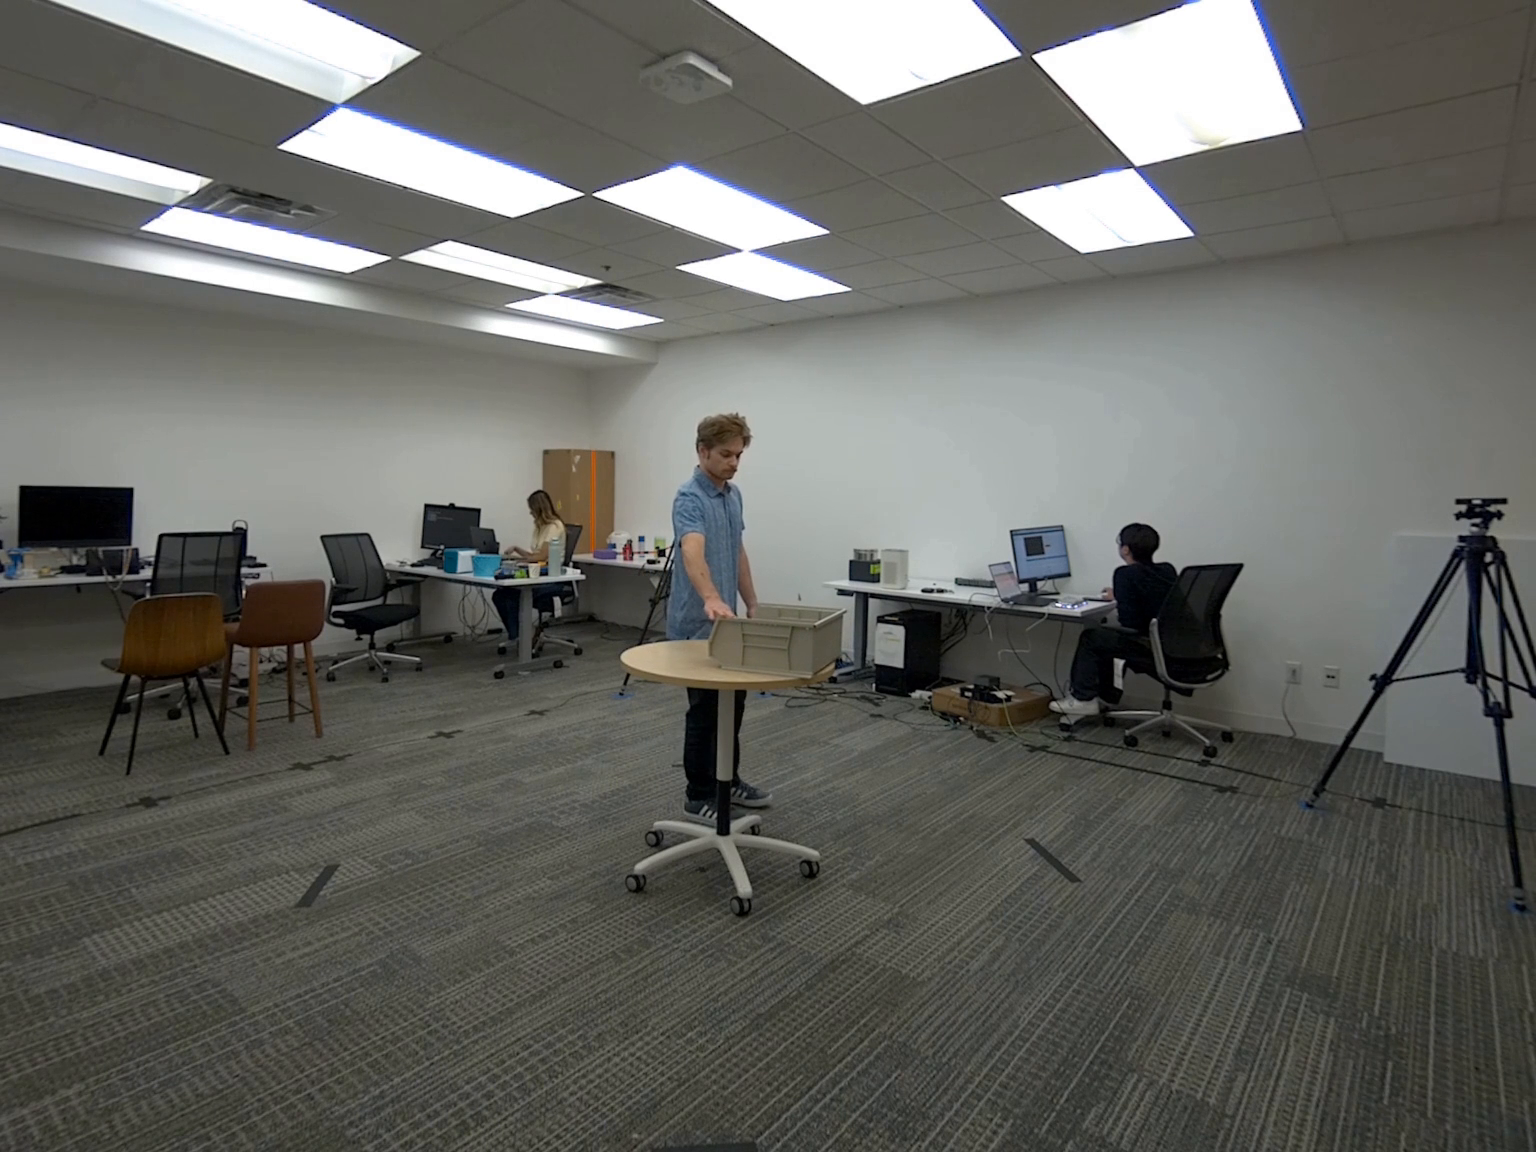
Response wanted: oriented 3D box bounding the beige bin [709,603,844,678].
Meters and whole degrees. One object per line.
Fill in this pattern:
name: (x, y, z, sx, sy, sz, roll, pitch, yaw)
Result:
beige bin: (0.030, 0.215, 2.987, 0.386, 0.188, 0.414, 5, 6, 20)
